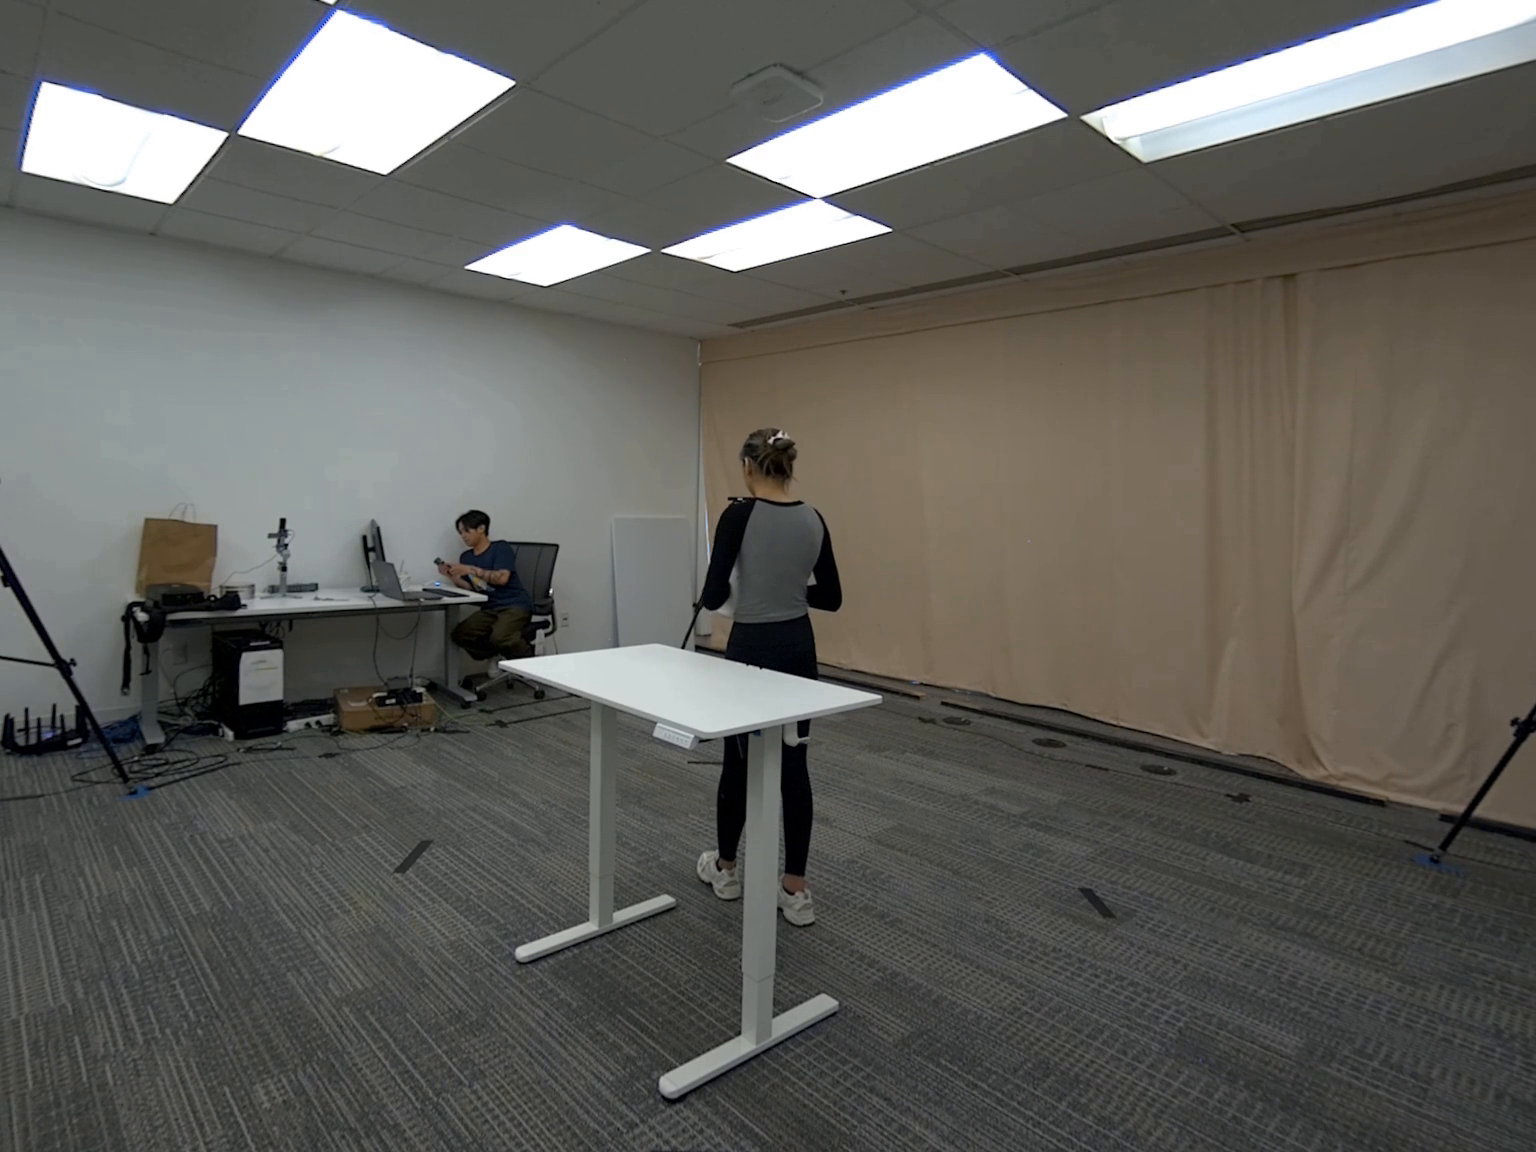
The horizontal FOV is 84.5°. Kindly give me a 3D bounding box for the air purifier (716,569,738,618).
[{"bbox_3d":[-0.083,0.021,3.059,0.169,0.265,0.174,-2,3,-23],"label":"air purifier"}]
